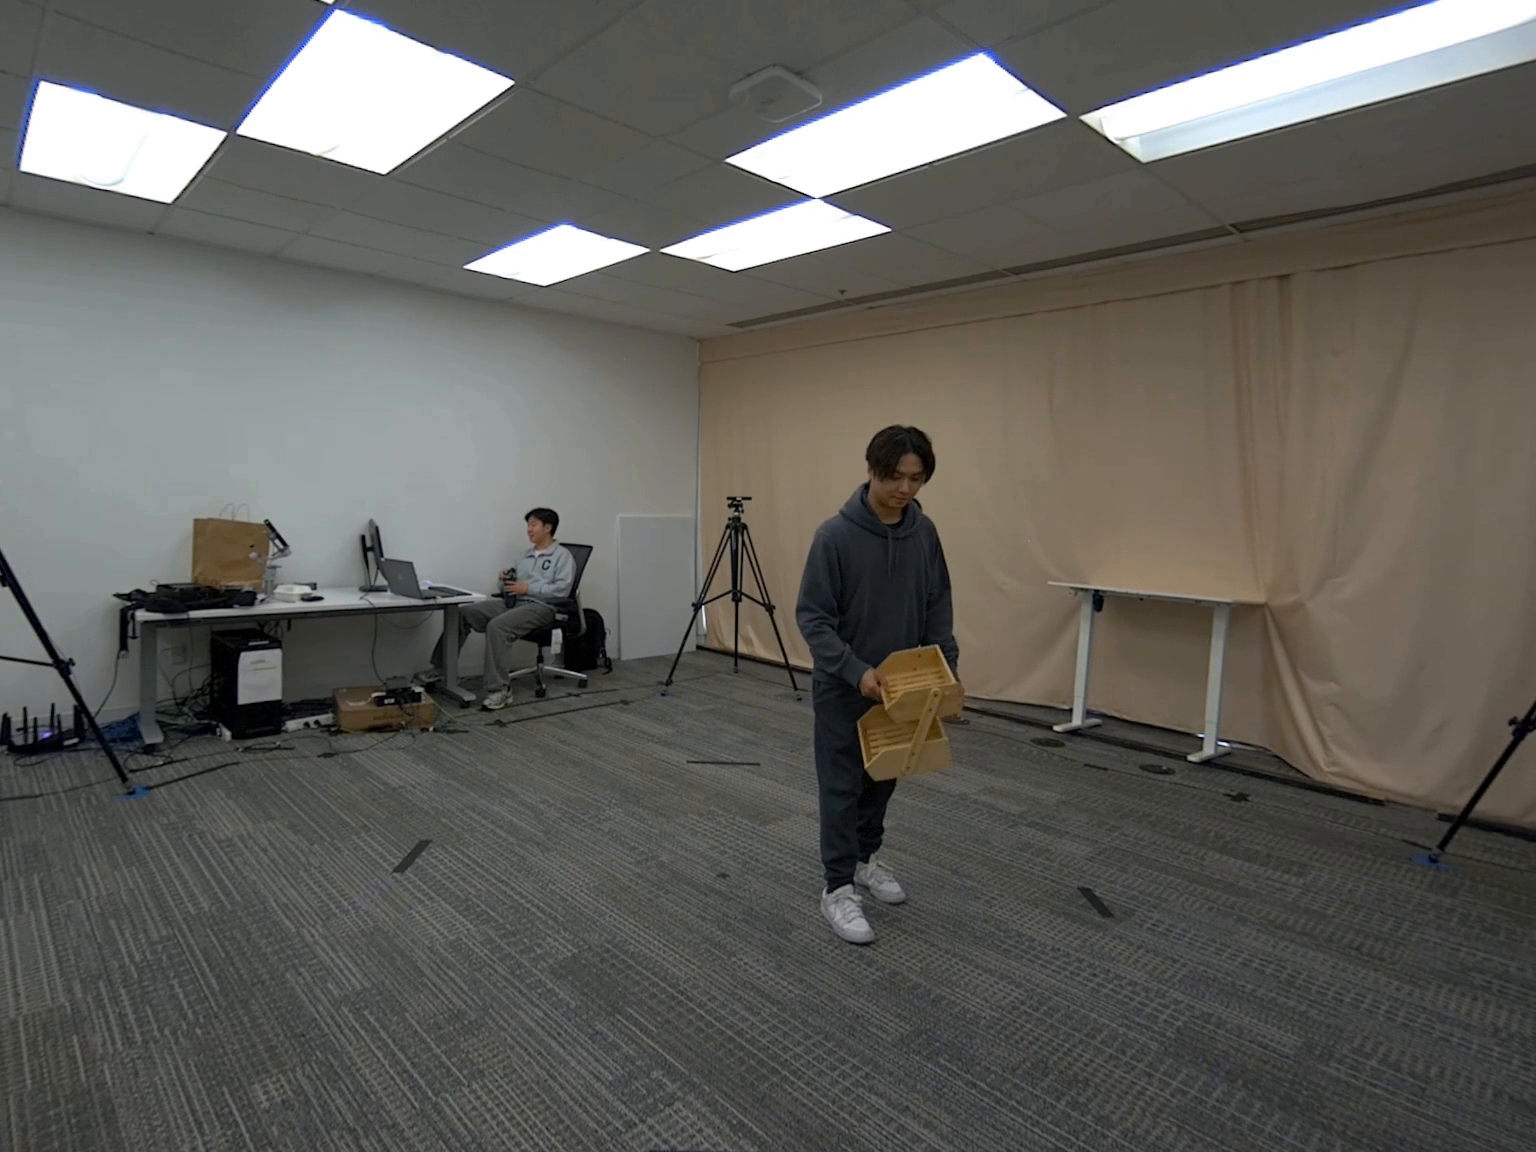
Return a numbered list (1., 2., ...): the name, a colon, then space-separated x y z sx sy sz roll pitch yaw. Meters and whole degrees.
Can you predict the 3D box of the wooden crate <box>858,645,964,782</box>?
1. wooden crate: 0.397 0.412 2.558 0.303 0.270 0.327 -13 14 5
